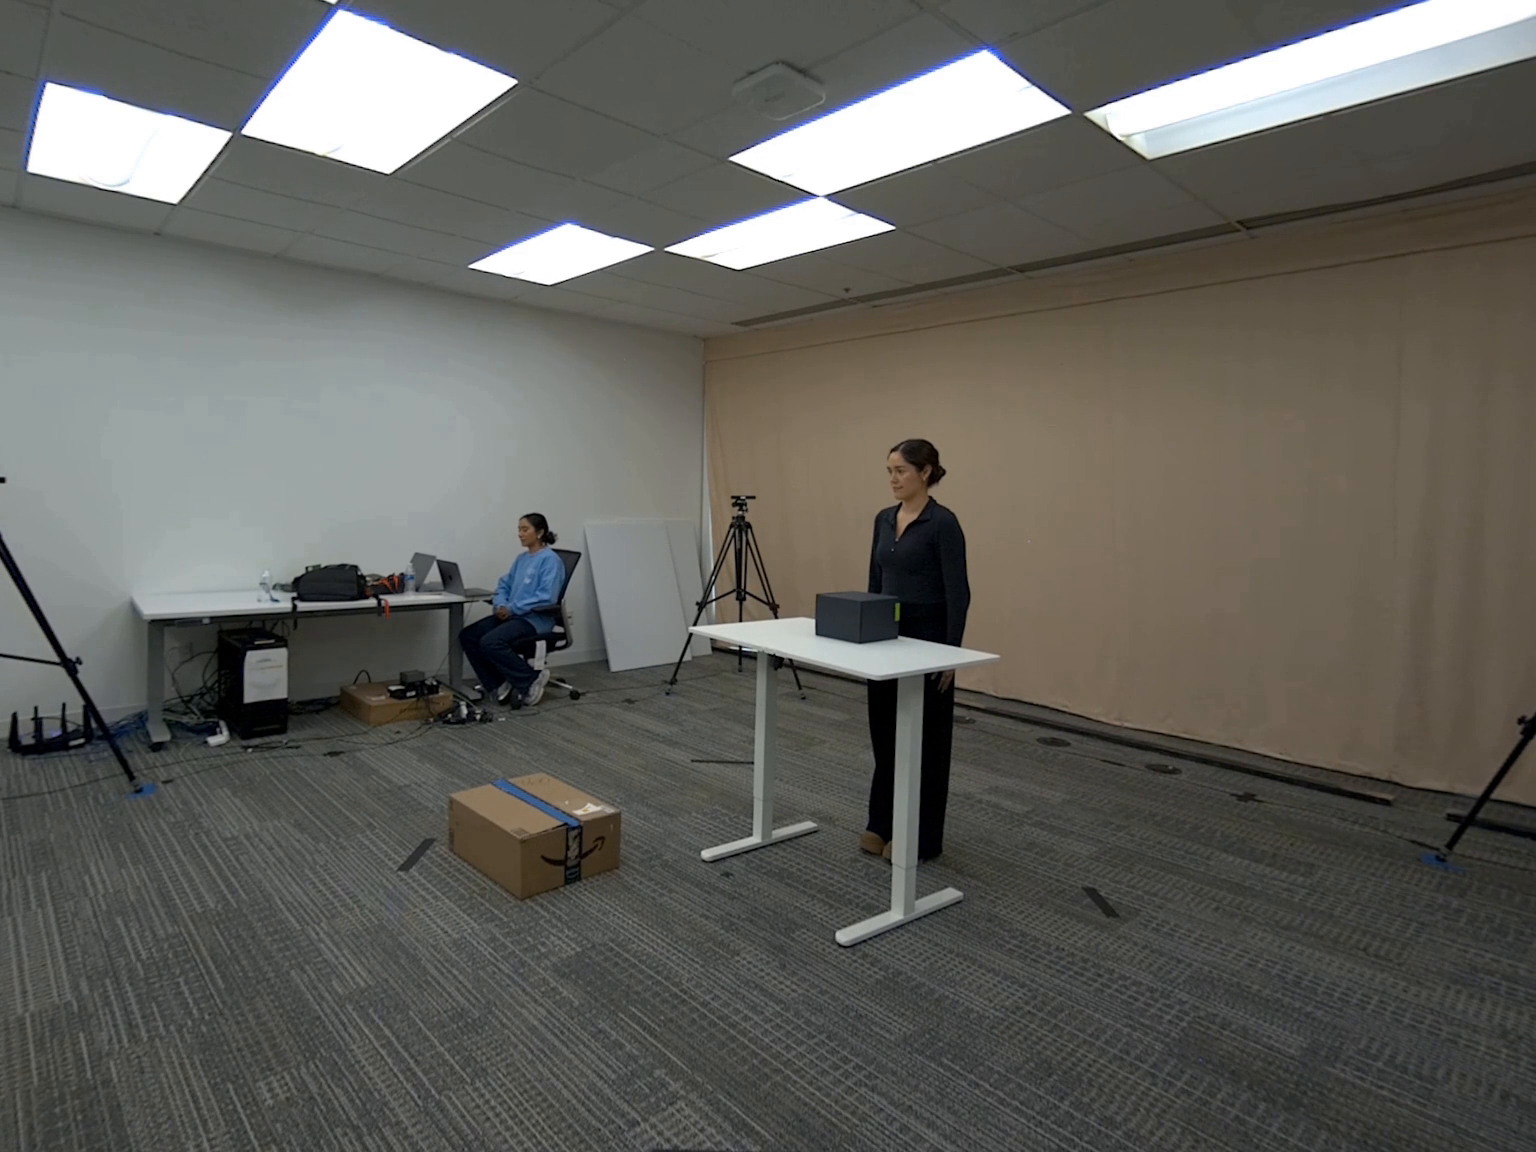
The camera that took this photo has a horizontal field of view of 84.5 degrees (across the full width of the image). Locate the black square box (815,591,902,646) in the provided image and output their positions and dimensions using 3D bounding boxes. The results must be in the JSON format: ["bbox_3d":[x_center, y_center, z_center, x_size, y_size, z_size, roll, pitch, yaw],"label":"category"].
[{"bbox_3d":[0.336,0.150,3.128,0.212,0.155,0.234,-3,7,-42],"label":"black square box"}]
